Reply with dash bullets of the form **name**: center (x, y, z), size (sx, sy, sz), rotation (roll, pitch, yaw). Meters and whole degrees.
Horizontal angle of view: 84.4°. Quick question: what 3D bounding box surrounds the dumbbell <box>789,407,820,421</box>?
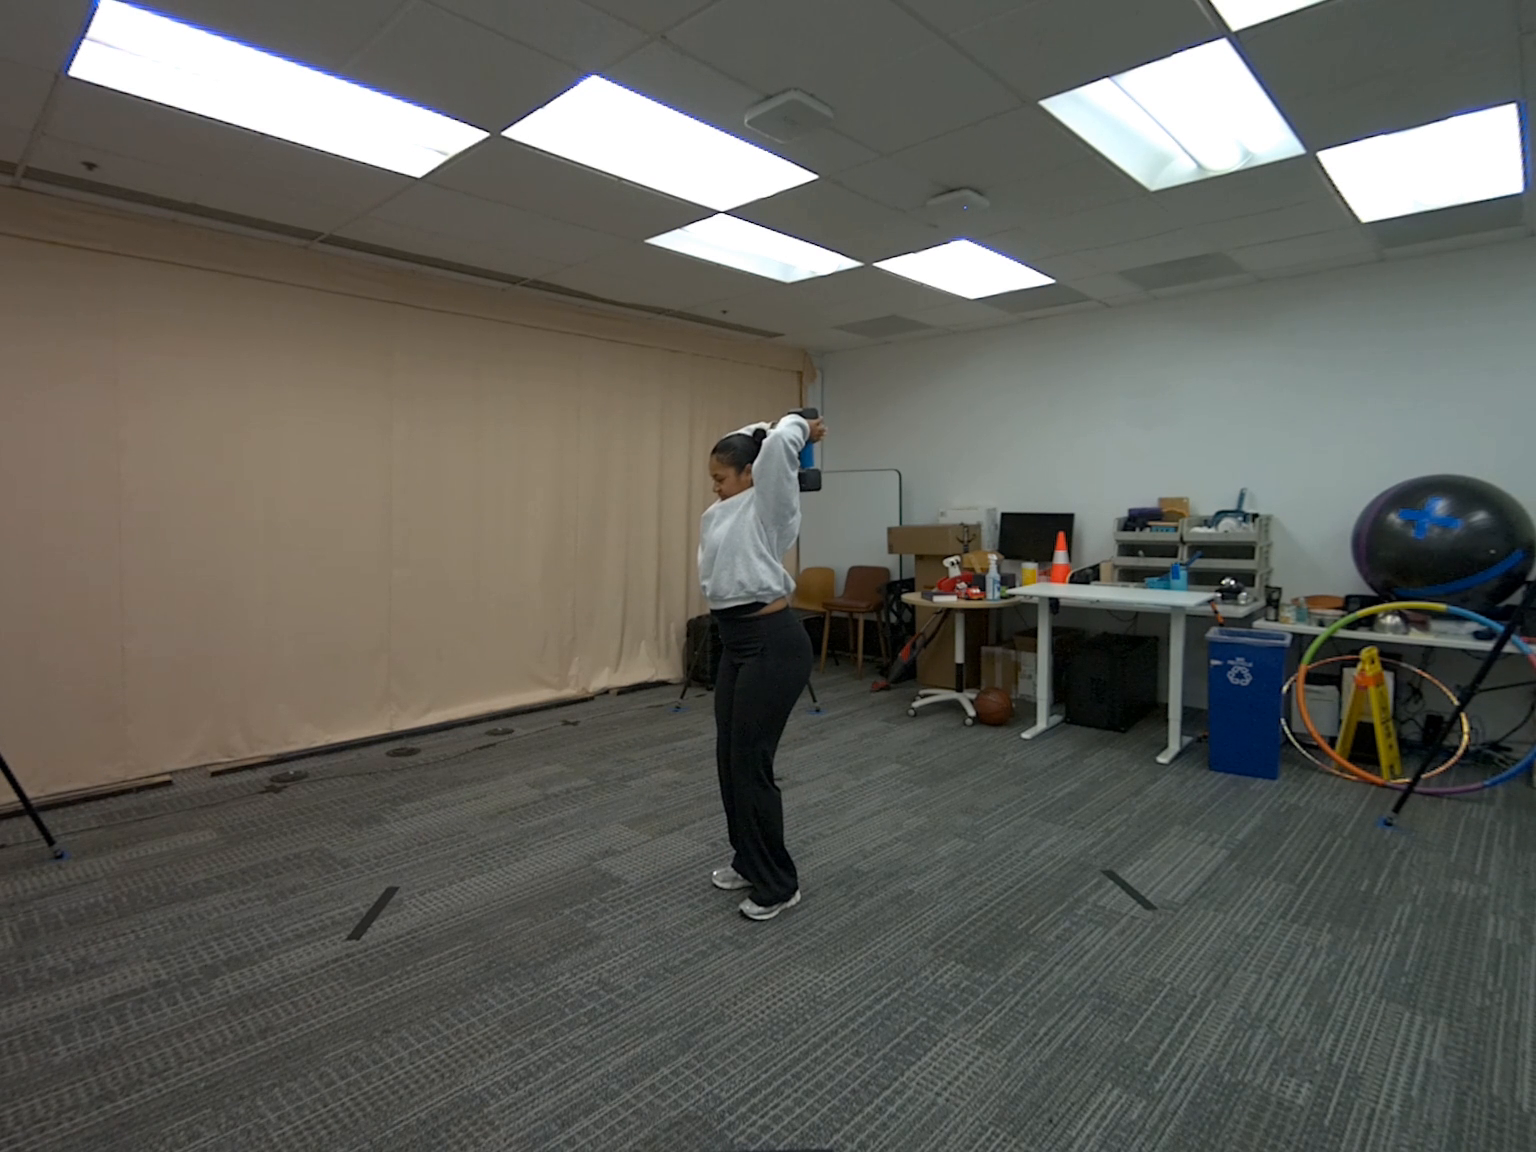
- **dumbbell**: center (0.137, -0.456, 2.978), size (0.127, 0.292, 0.106), rotation (2, 9, 36)
